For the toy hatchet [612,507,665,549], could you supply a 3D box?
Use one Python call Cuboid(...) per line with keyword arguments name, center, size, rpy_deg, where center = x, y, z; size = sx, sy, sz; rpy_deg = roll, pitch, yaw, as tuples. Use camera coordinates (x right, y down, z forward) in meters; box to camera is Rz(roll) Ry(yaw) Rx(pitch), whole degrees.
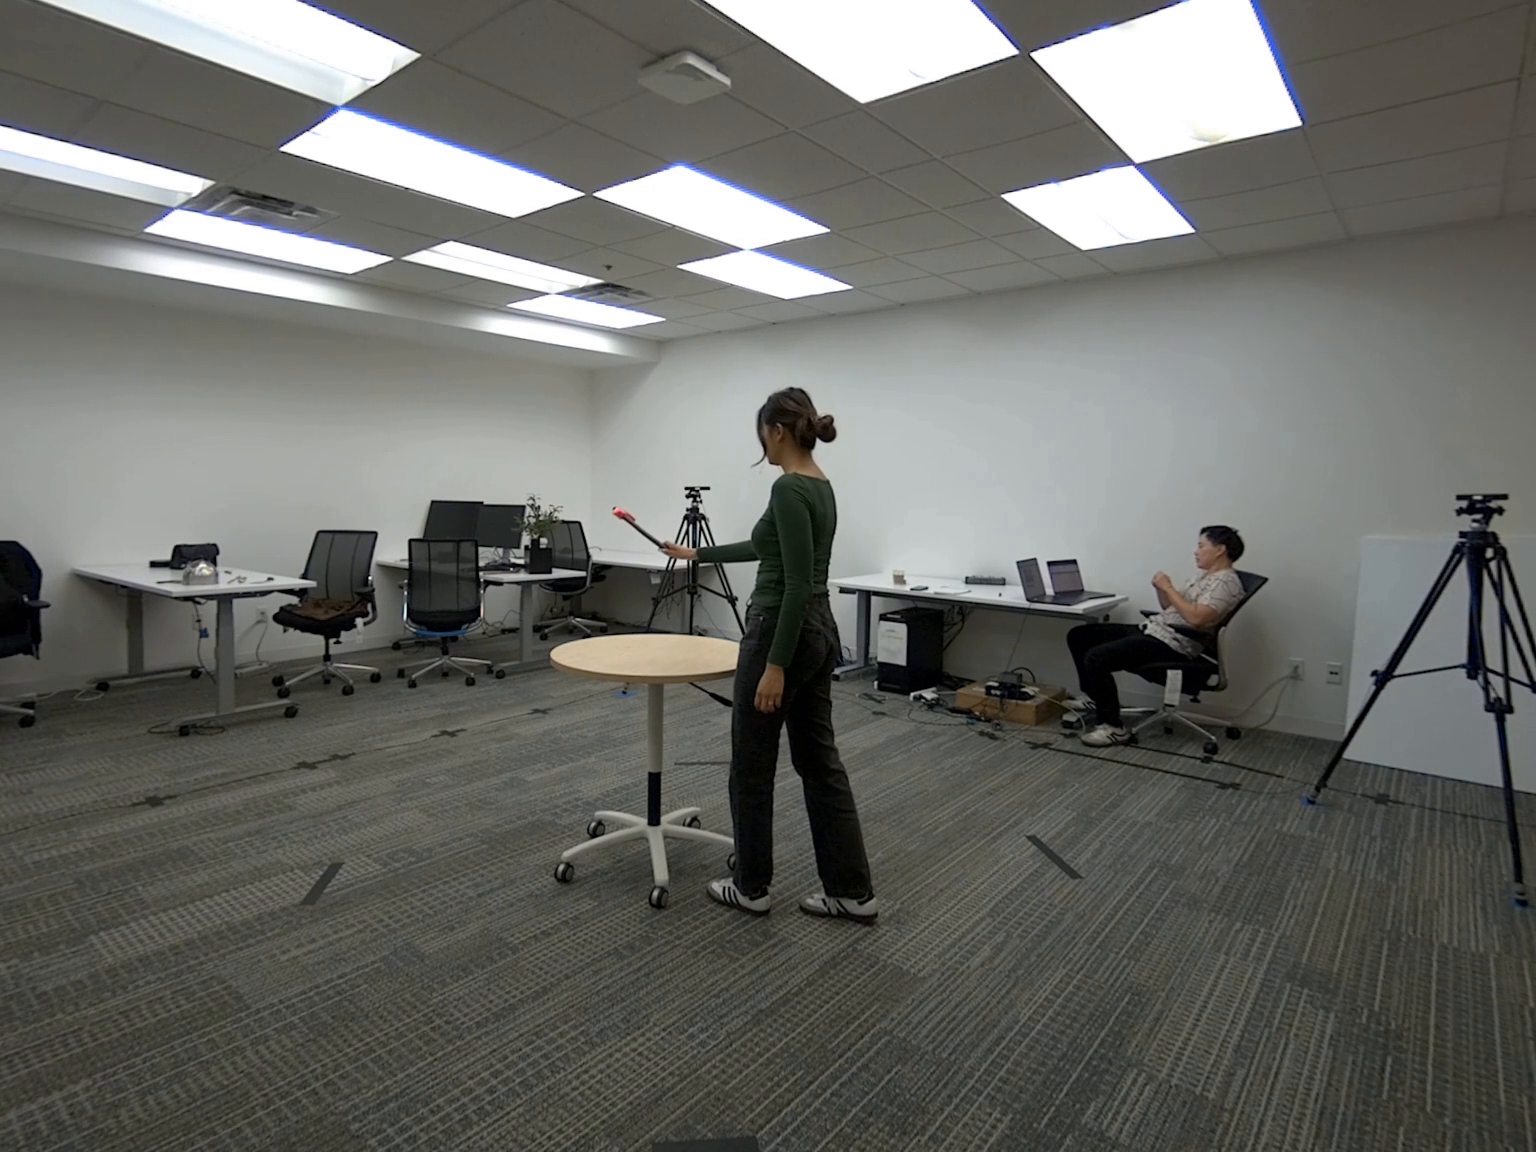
Cuboid(name="toy hatchet", center=(-0.476, -0.176, 3.195), size=(0.267, 0.029, 0.133), rpy_deg=(35, 9, -9))
